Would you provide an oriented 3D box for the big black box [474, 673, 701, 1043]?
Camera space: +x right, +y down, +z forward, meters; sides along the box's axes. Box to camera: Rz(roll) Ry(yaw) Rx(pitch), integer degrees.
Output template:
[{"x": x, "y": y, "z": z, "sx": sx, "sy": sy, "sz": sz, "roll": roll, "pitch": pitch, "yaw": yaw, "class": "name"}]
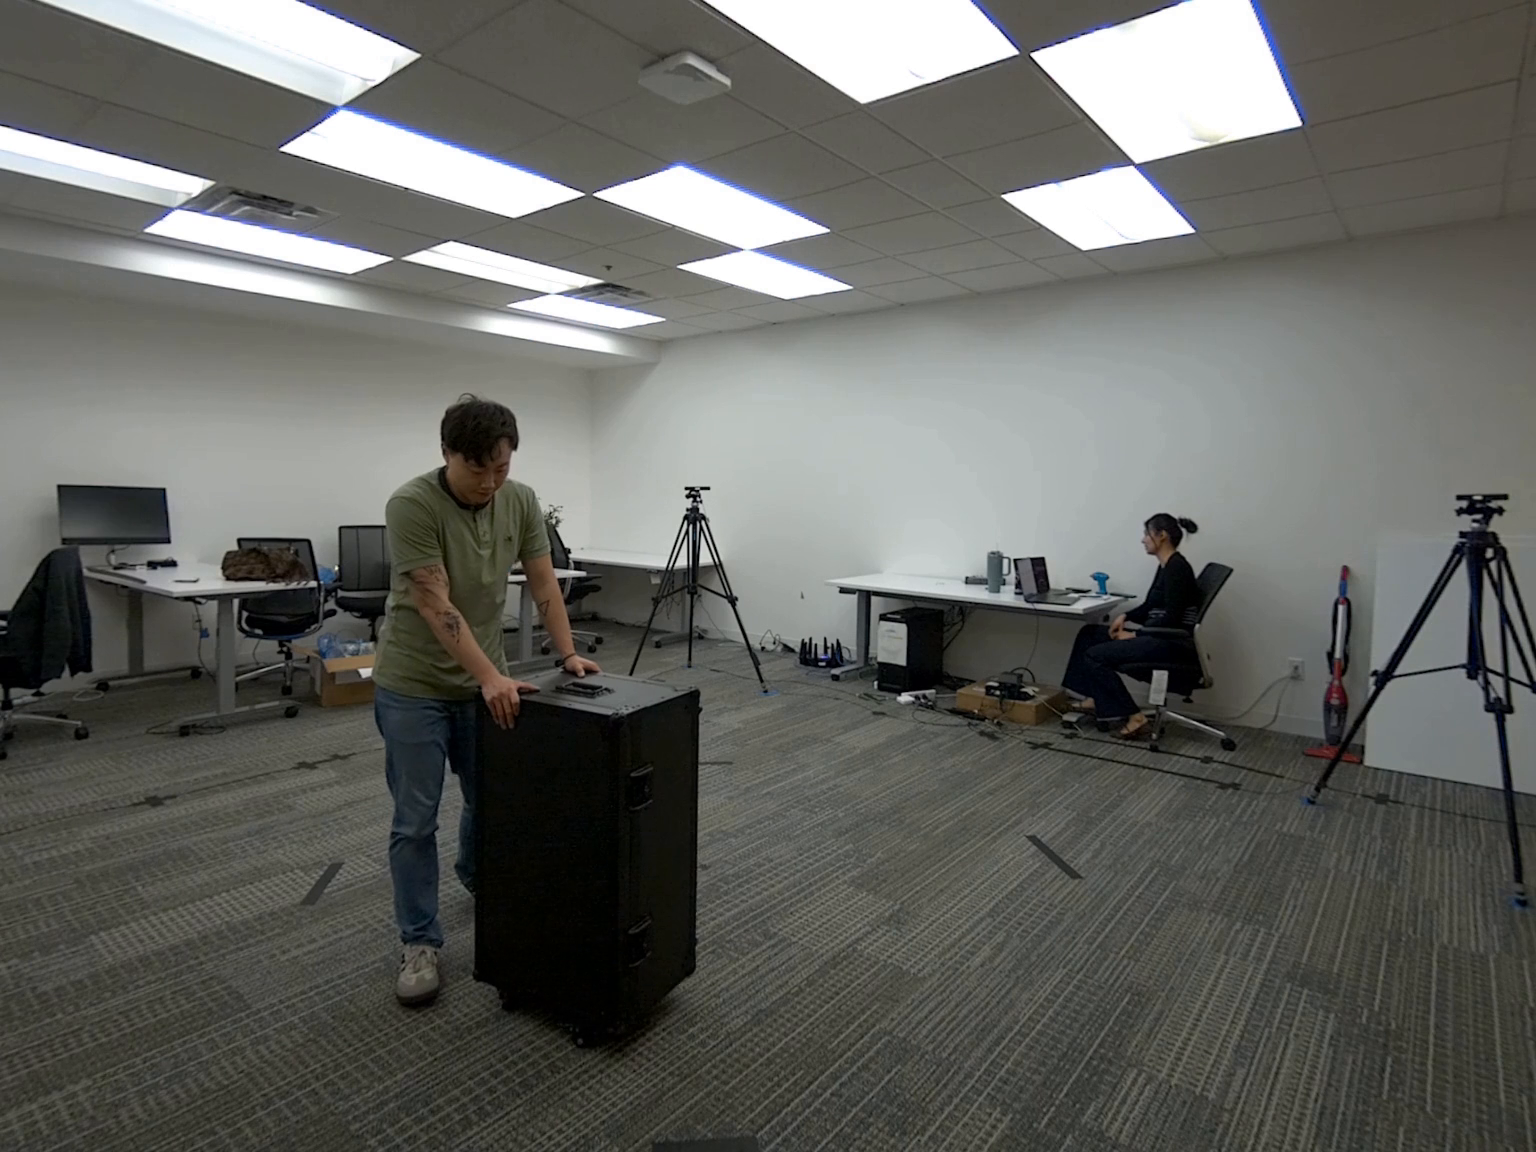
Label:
[{"x": -0.488, "y": 0.722, "z": 2.284, "sx": 0.536, "sy": 0.860, "sz": 0.386, "roll": 3, "pitch": 3, "yaw": 29, "class": "big black box"}]
